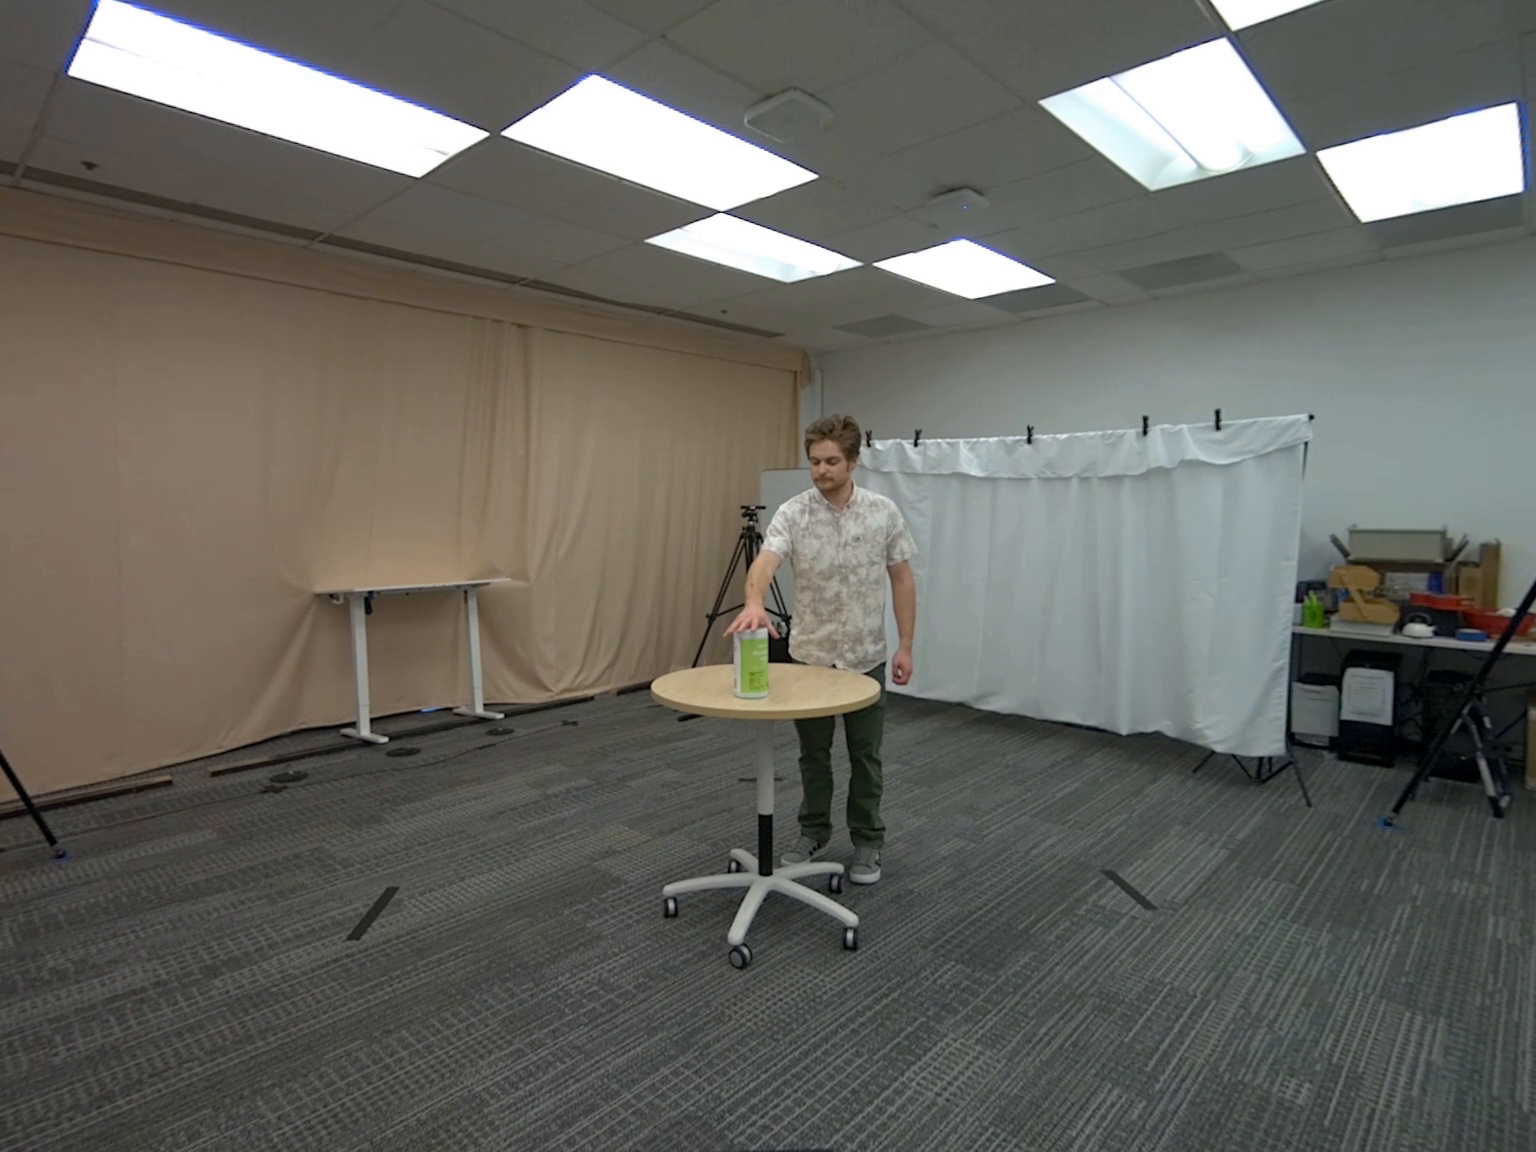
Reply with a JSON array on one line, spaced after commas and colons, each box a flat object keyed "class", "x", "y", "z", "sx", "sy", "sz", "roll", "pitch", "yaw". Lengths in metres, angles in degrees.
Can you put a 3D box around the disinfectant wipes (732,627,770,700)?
[{"class": "disinfectant wipes", "x": -0.055, "y": 0.271, "z": 2.654, "sx": 0.118, "sy": 0.217, "sz": 0.118, "roll": -1, "pitch": 1, "yaw": -2}]
